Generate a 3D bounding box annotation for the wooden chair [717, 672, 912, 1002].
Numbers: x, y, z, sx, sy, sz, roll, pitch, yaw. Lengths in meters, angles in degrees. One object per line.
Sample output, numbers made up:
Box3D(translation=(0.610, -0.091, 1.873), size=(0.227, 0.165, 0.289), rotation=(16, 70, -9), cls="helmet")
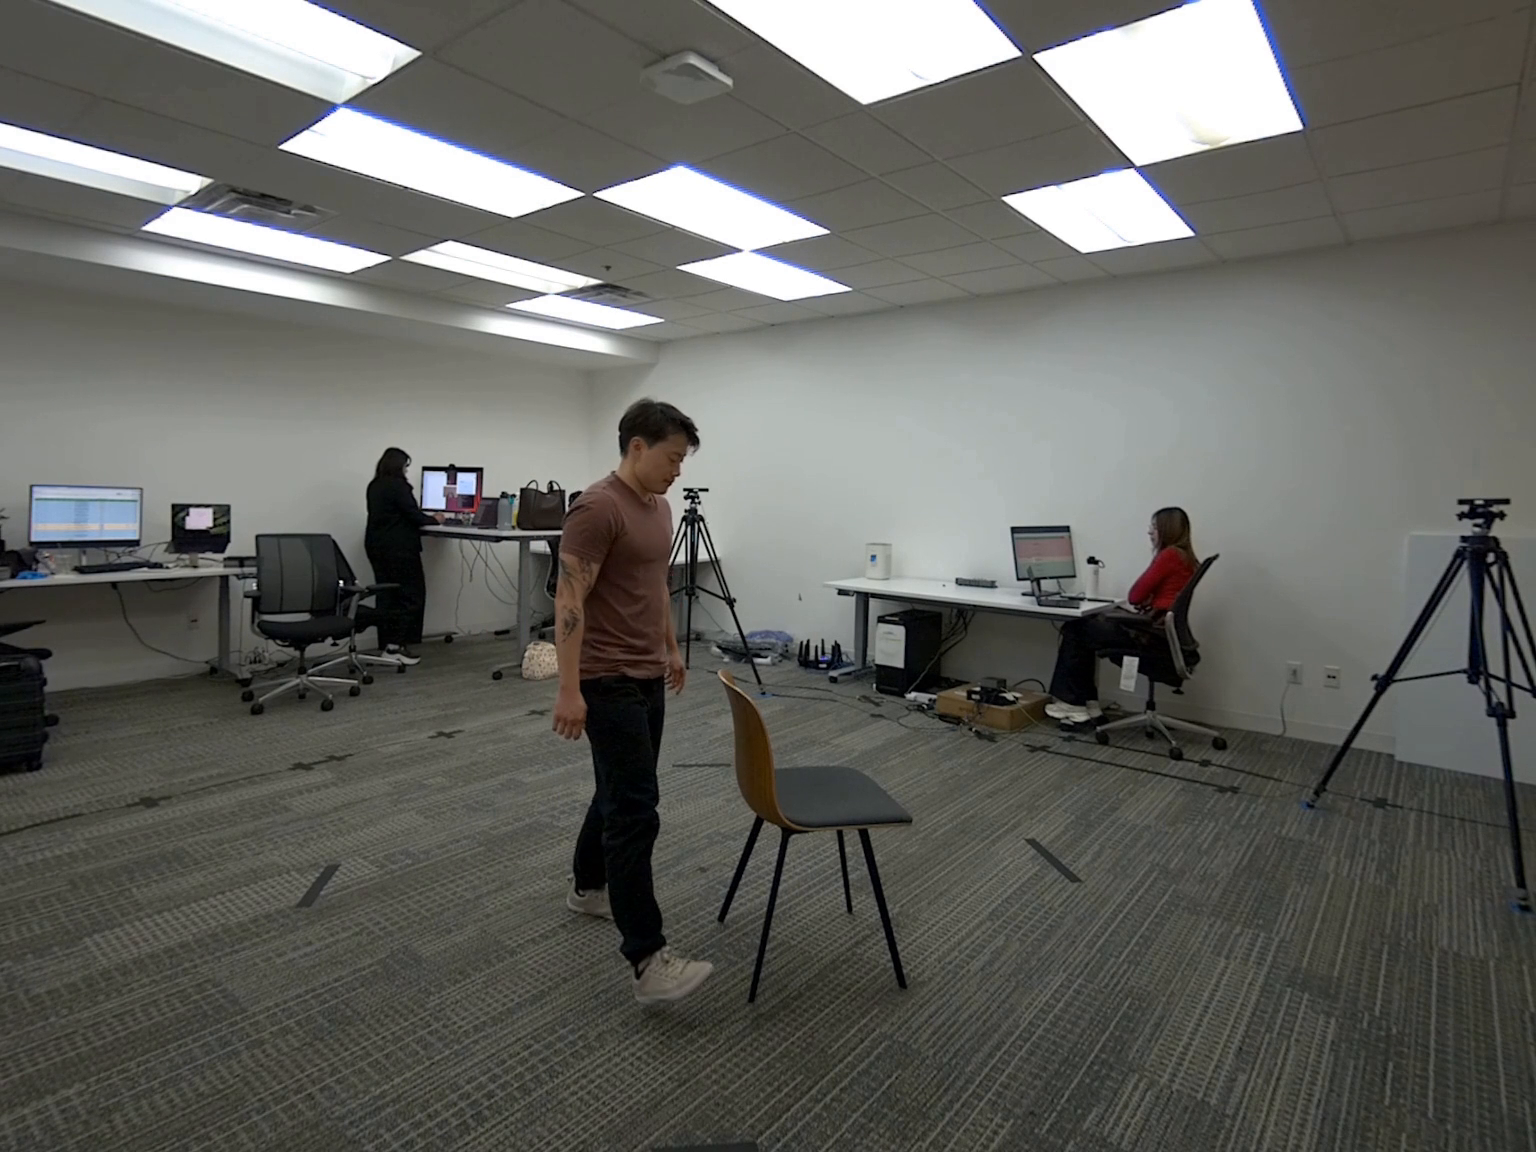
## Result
Box3D(translation=(0.127, 0.705, 2.540), size=(0.516, 0.874, 0.486), rotation=(-4, 4, -13), cls="wooden chair")
